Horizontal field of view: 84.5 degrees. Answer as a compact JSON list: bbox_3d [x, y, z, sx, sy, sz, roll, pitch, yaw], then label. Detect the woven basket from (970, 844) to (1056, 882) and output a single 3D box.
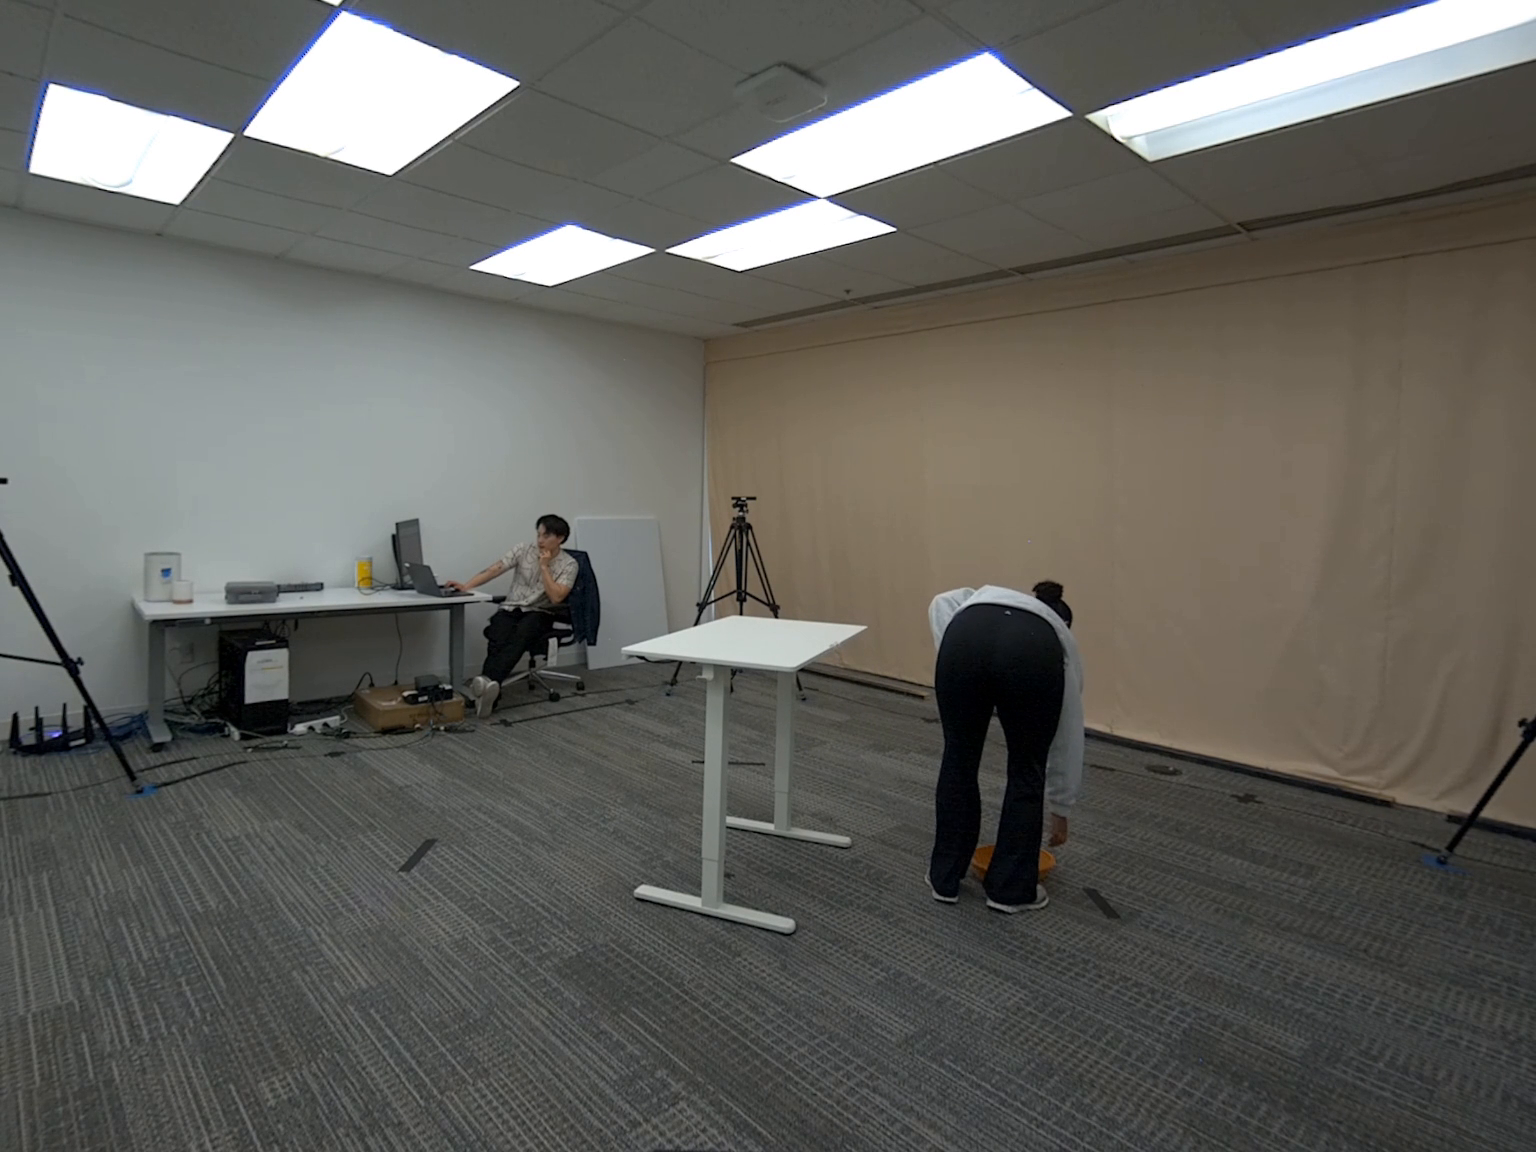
[{"bbox_3d":[0.906,1.086,3.175,0.344,0.073,0.257,0,5,-23],"label":"woven basket"}]
